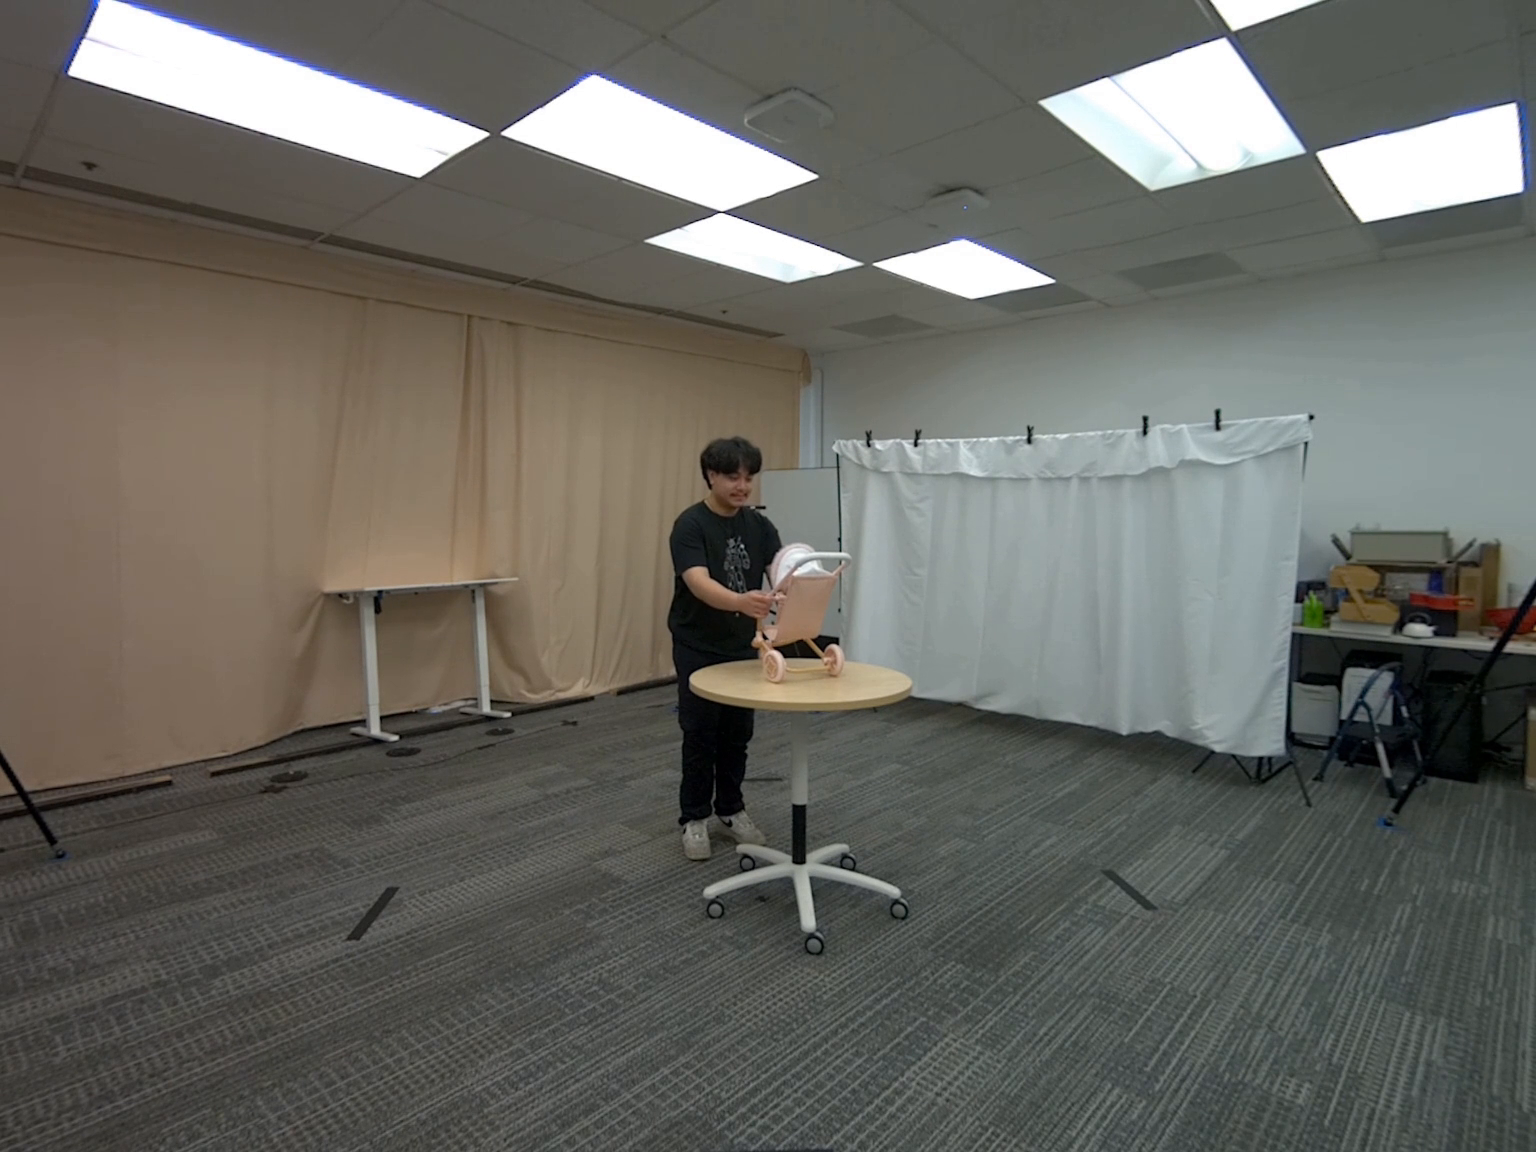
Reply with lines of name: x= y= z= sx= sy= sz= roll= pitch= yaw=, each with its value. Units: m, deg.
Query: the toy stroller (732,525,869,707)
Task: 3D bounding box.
toy stroller: x=0.100 y=0.124 z=2.956 sx=0.275 sy=0.531 sz=0.352 roll=0 pitch=17 yaw=-25
